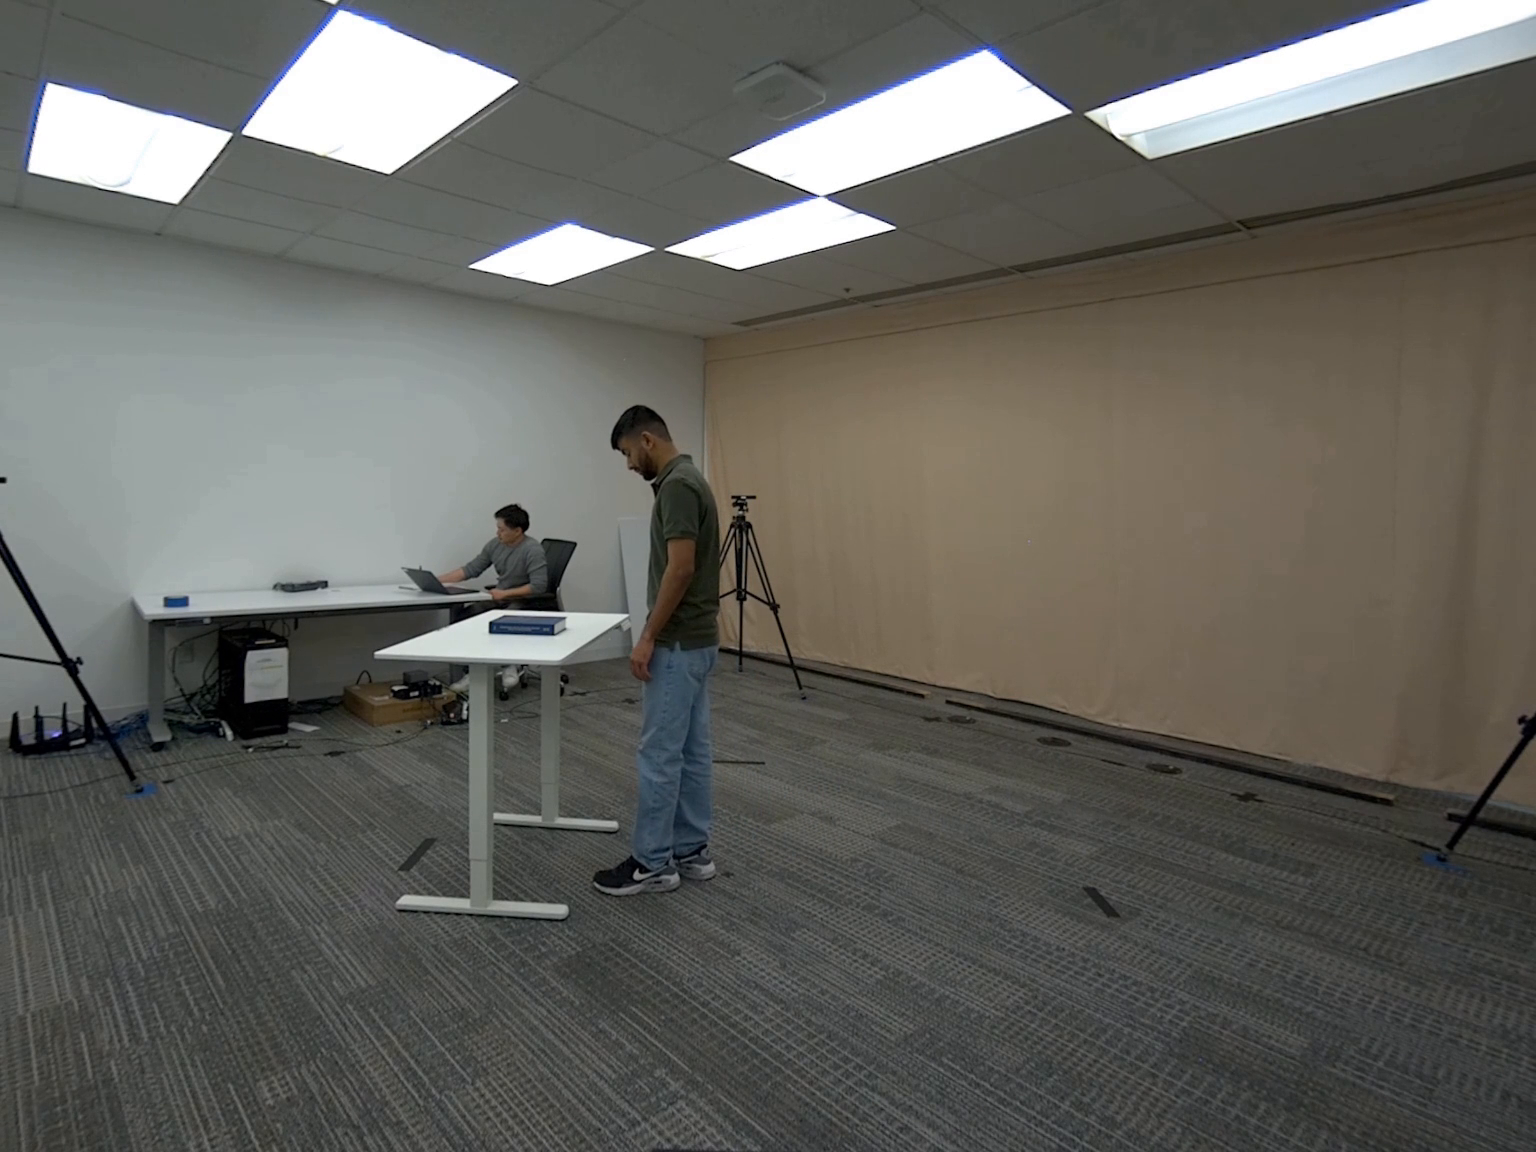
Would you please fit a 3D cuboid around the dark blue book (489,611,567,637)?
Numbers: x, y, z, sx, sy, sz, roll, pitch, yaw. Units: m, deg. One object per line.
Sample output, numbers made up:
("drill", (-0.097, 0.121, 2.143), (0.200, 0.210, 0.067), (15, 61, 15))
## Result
("dark blue book", (-0.884, 0.182, 3.089), (0.246, 0.045, 0.163), (1, 6, 3))
